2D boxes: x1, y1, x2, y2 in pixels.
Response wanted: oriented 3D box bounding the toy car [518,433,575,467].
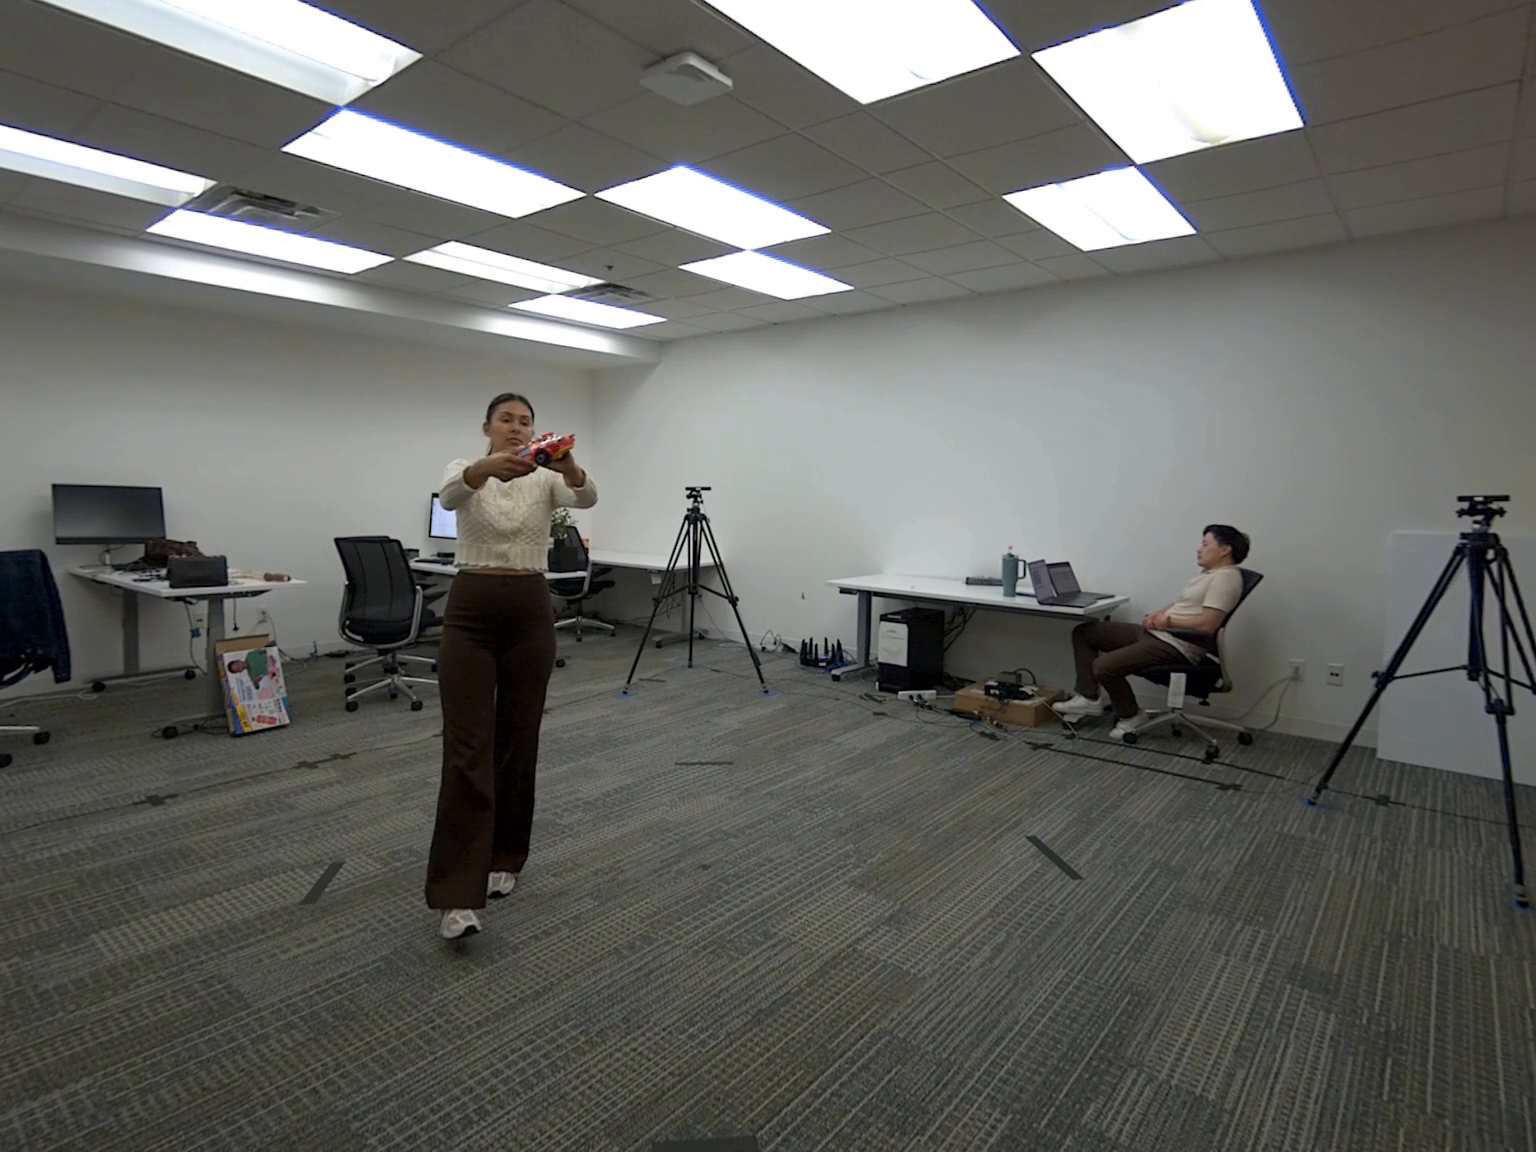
[{"bbox_3d":[-0.671,-0.341,2.427,0.257,0.083,0.129,-29,5,25],"label":"toy car"}]
